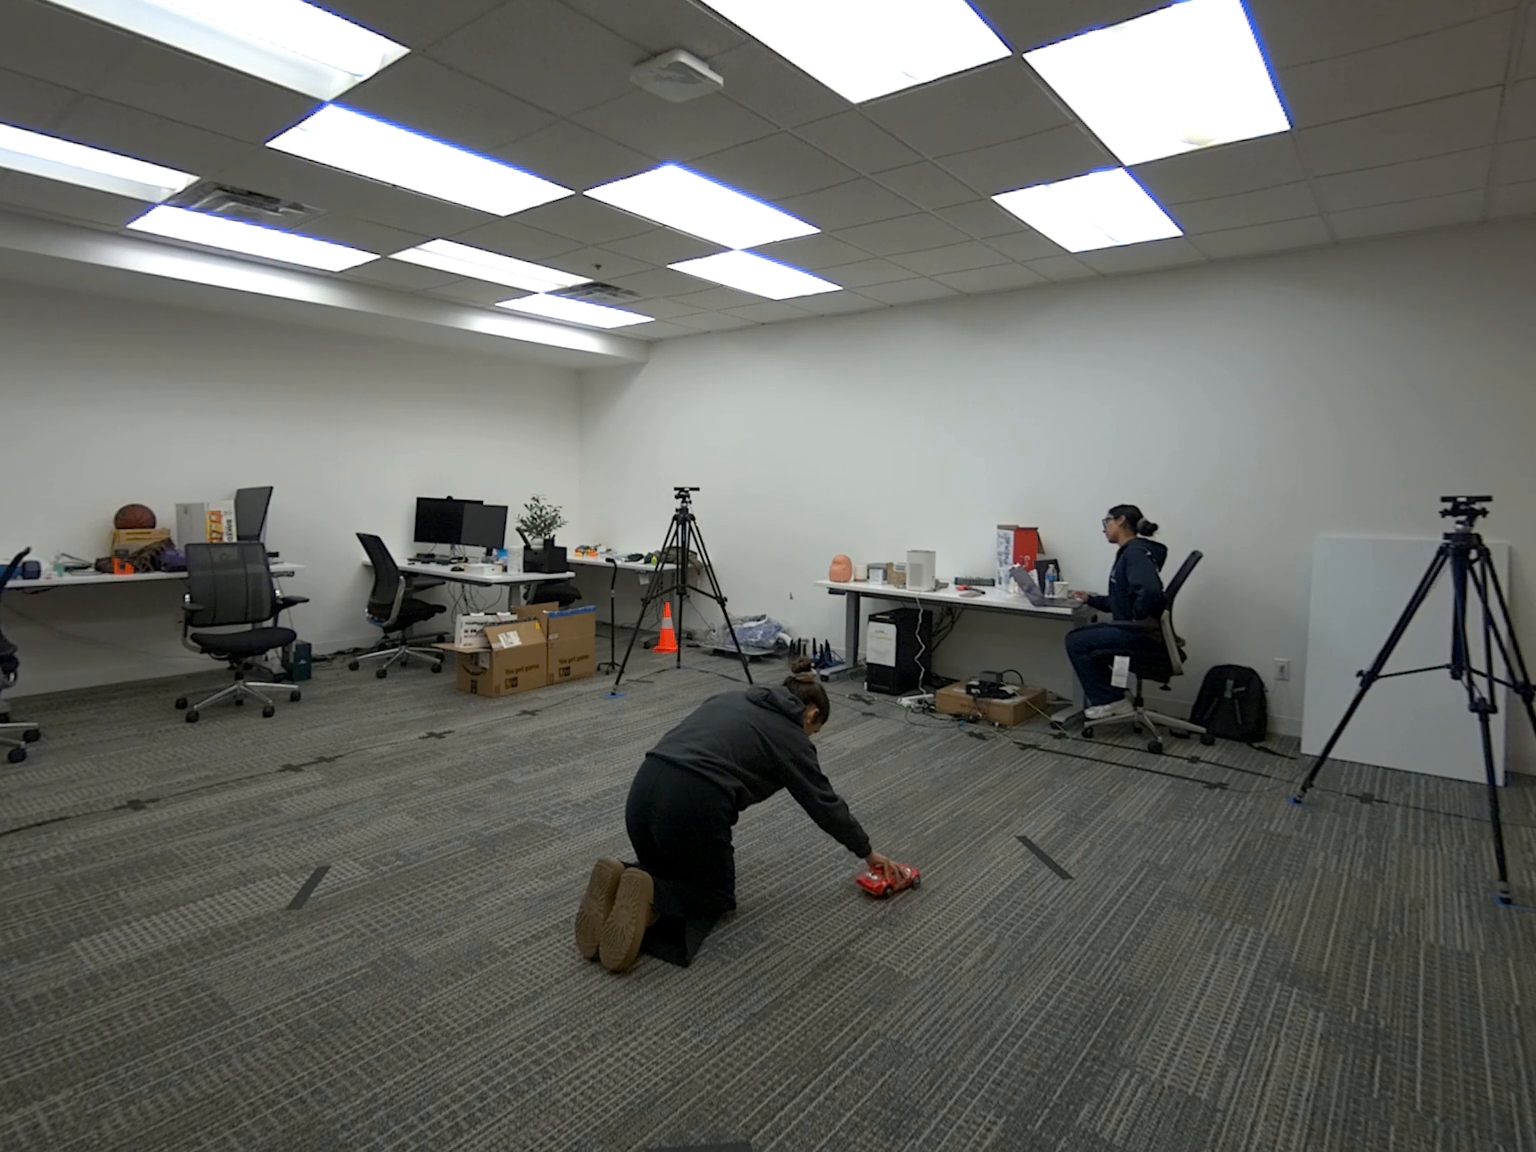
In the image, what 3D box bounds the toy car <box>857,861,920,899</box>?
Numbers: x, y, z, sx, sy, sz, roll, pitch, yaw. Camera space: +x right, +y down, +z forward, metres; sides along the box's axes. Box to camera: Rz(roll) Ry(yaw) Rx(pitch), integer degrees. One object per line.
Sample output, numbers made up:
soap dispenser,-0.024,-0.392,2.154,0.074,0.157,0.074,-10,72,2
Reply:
toy car,0.418,1.062,2.975,0.246,0.083,0.135,11,-1,-36
